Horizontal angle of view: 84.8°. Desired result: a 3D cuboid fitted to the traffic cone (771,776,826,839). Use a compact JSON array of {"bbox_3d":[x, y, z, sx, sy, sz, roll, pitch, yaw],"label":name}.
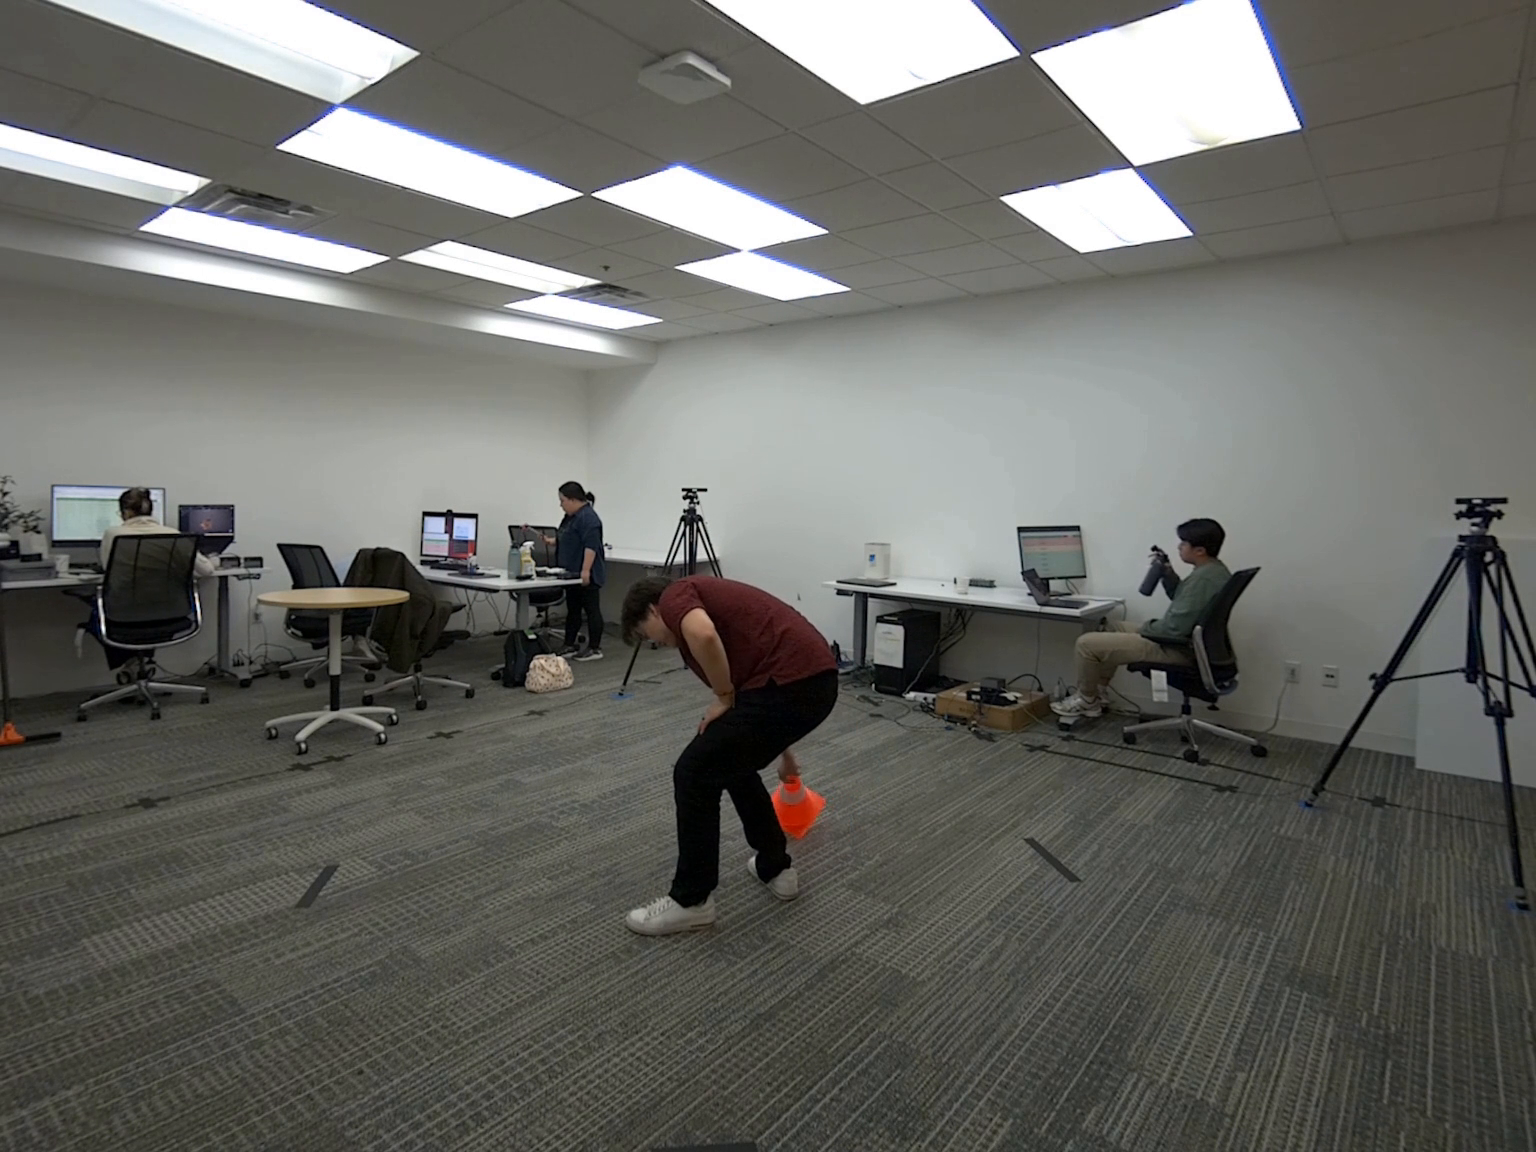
[{"bbox_3d":[0.109,0.836,3.345,0.210,0.205,0.372,29,-31,23],"label":"traffic cone"}]
